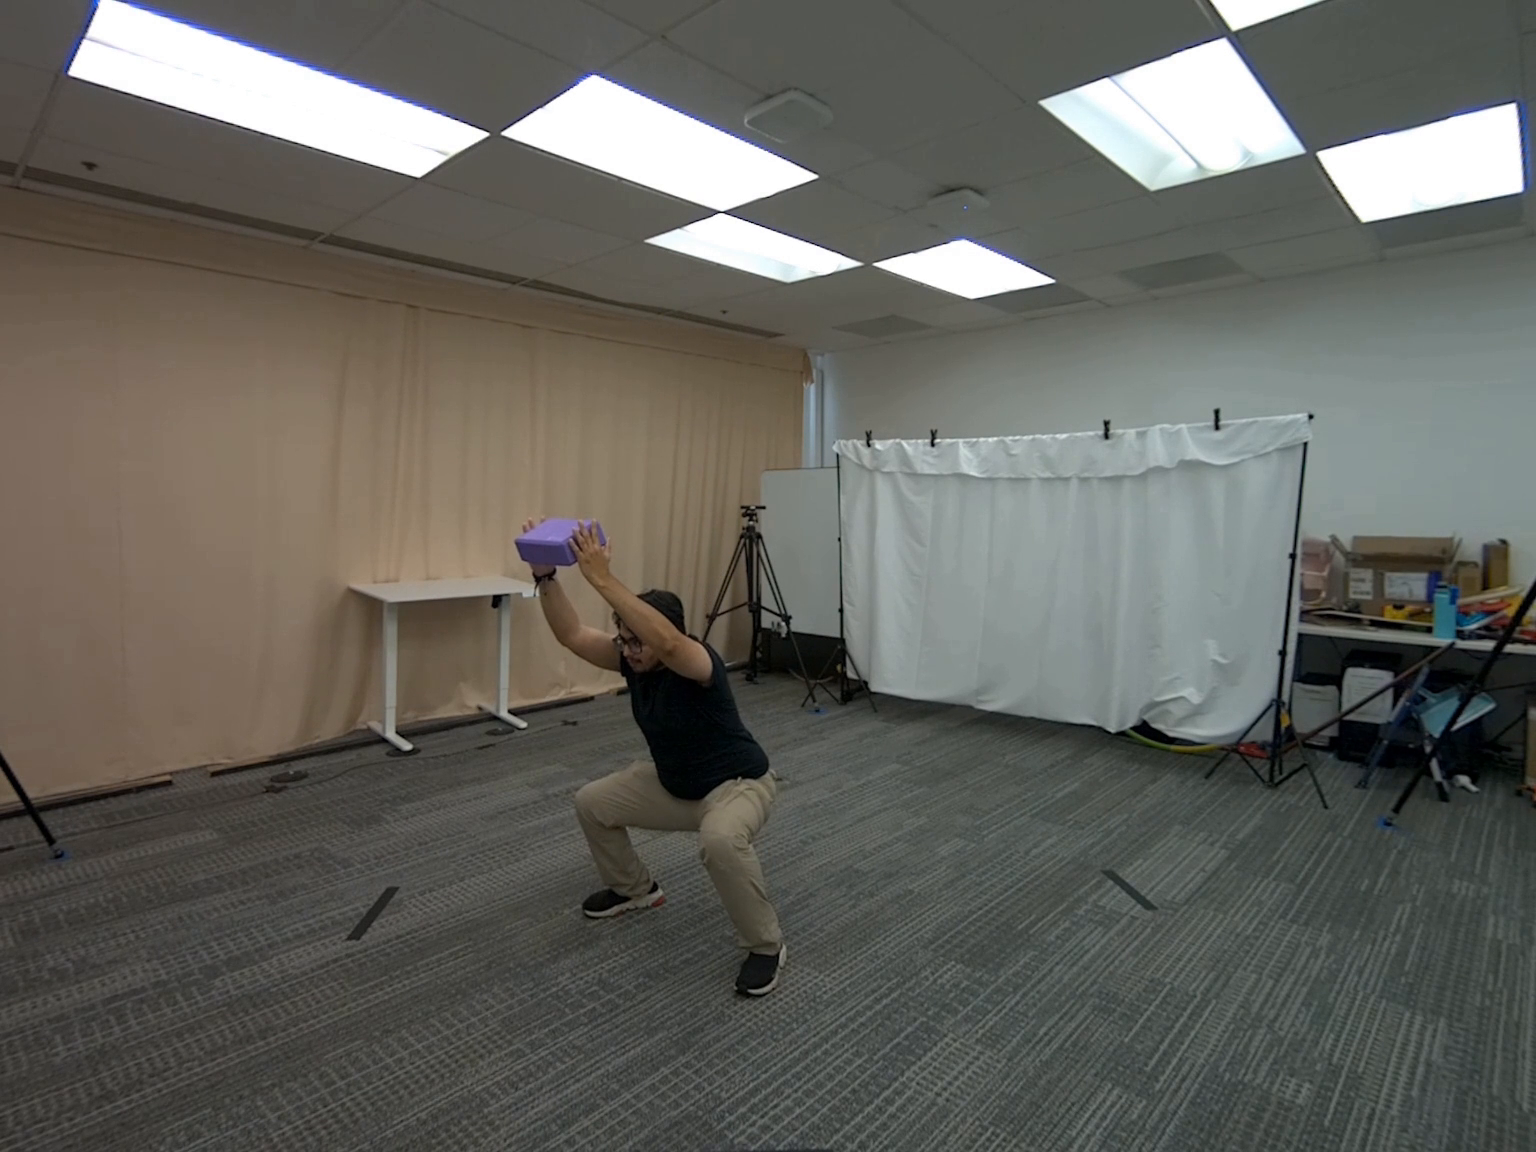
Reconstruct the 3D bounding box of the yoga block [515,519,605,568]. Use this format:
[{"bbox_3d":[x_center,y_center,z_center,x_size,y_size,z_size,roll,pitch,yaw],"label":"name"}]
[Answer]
[{"bbox_3d":[-0.572,-0.100,2.348,0.237,0.075,0.147,6,35,41],"label":"yoga block"}]
